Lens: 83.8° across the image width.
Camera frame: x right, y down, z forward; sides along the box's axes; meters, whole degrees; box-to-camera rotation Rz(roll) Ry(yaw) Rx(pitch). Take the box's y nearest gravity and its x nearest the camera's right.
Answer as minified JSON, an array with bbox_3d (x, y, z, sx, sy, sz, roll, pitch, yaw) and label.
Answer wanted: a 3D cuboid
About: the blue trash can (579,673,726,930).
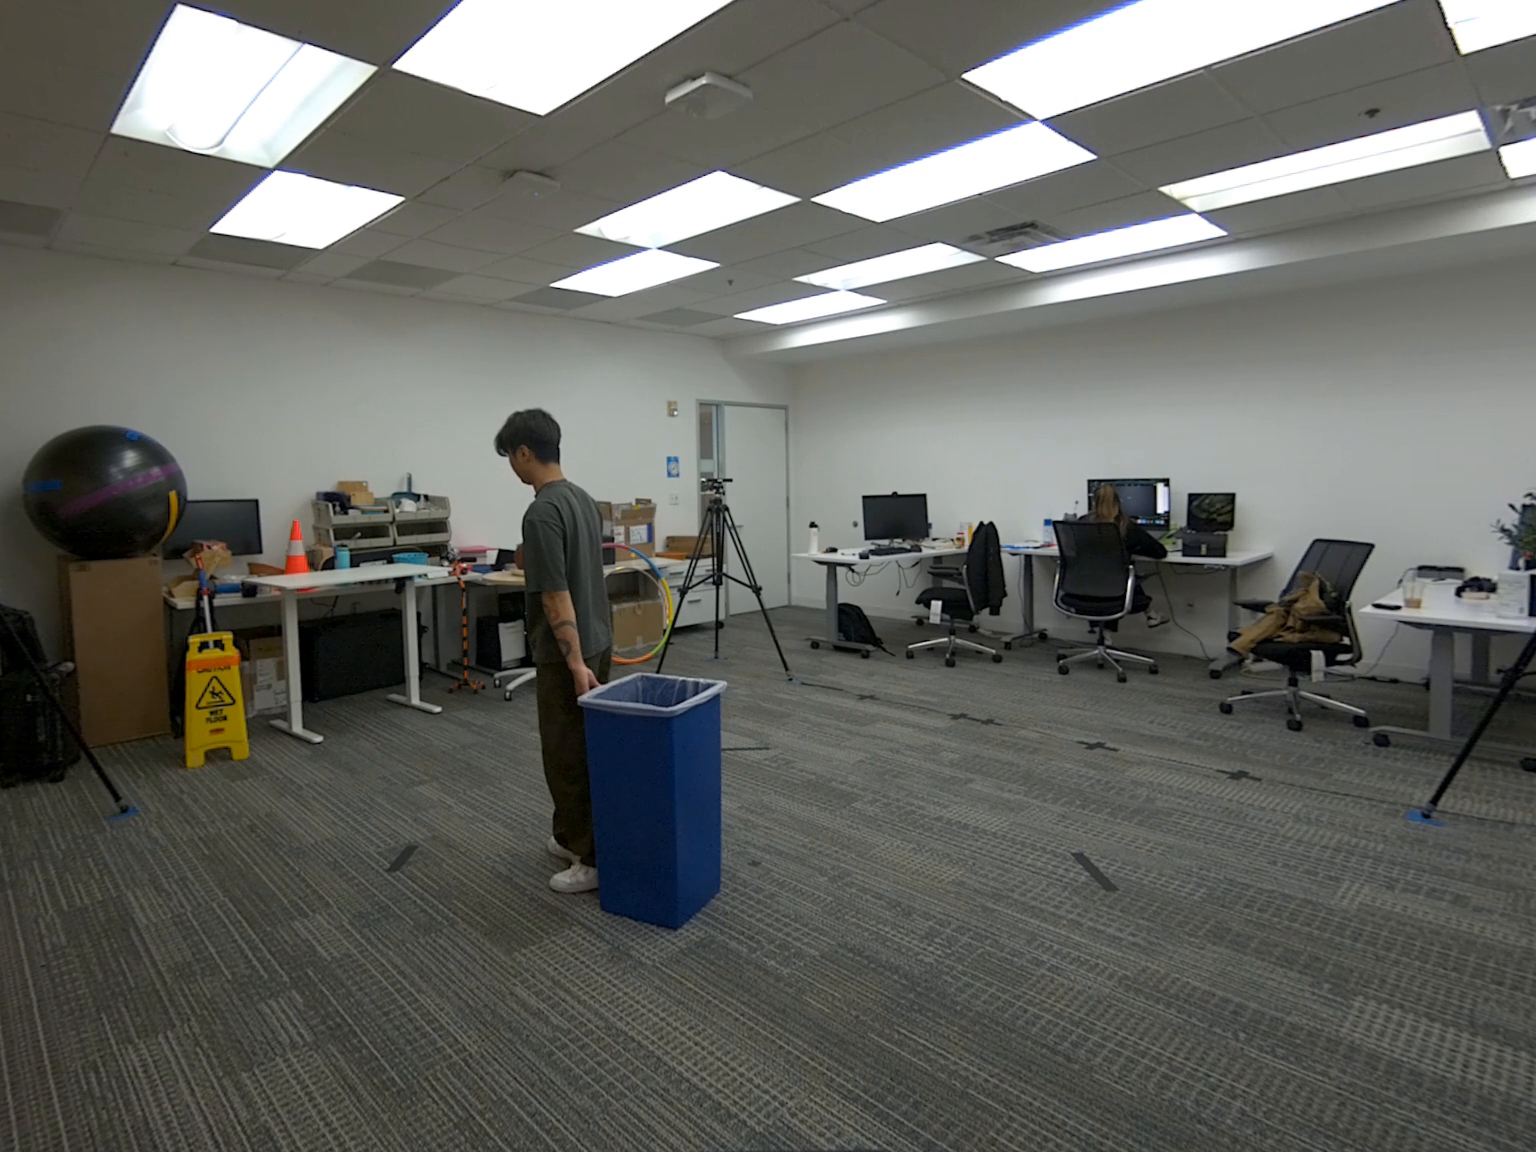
[{"bbox_3d":[-0.363,0.725,2.812,0.387,0.711,0.367,1,5,26],"label":"blue trash can"}]
